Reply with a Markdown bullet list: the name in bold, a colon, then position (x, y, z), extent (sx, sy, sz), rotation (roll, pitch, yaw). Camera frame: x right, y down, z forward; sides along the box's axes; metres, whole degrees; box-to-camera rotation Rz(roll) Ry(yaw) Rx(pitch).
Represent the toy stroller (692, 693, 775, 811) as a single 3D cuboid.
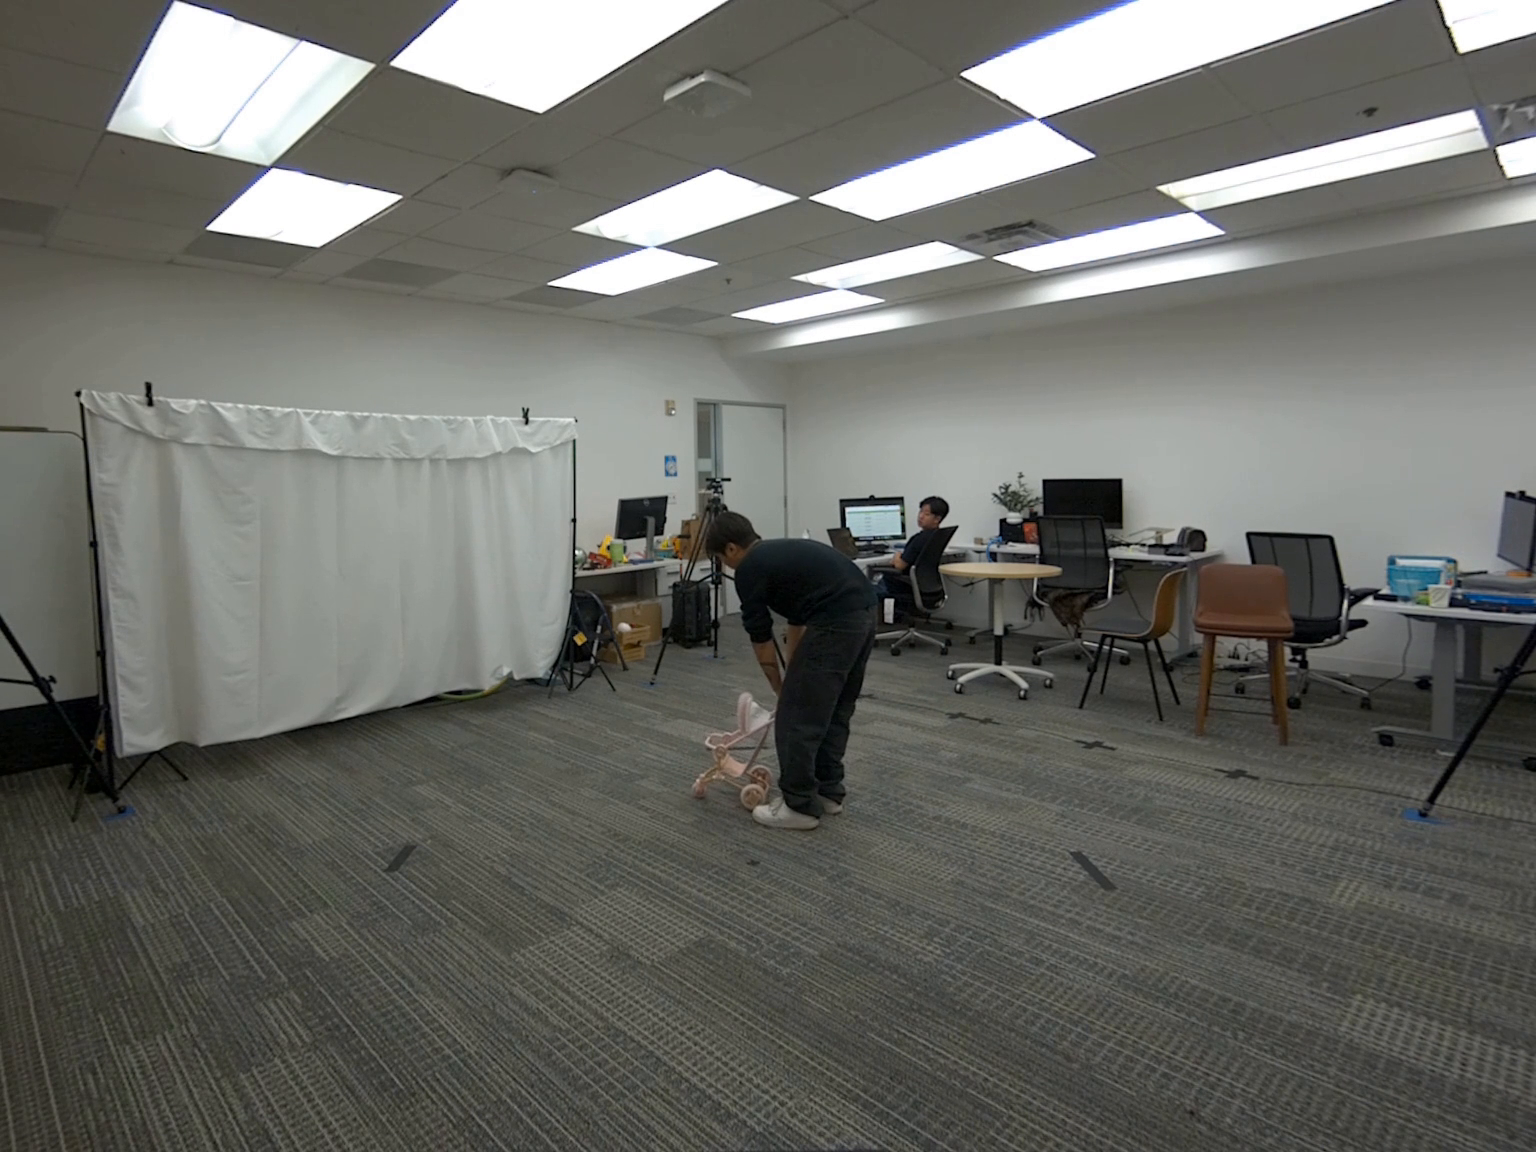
- **toy stroller**: position (-0.117, 0.752, 3.725), extent (0.347, 0.533, 0.278), rotation (17, 6, 12)
